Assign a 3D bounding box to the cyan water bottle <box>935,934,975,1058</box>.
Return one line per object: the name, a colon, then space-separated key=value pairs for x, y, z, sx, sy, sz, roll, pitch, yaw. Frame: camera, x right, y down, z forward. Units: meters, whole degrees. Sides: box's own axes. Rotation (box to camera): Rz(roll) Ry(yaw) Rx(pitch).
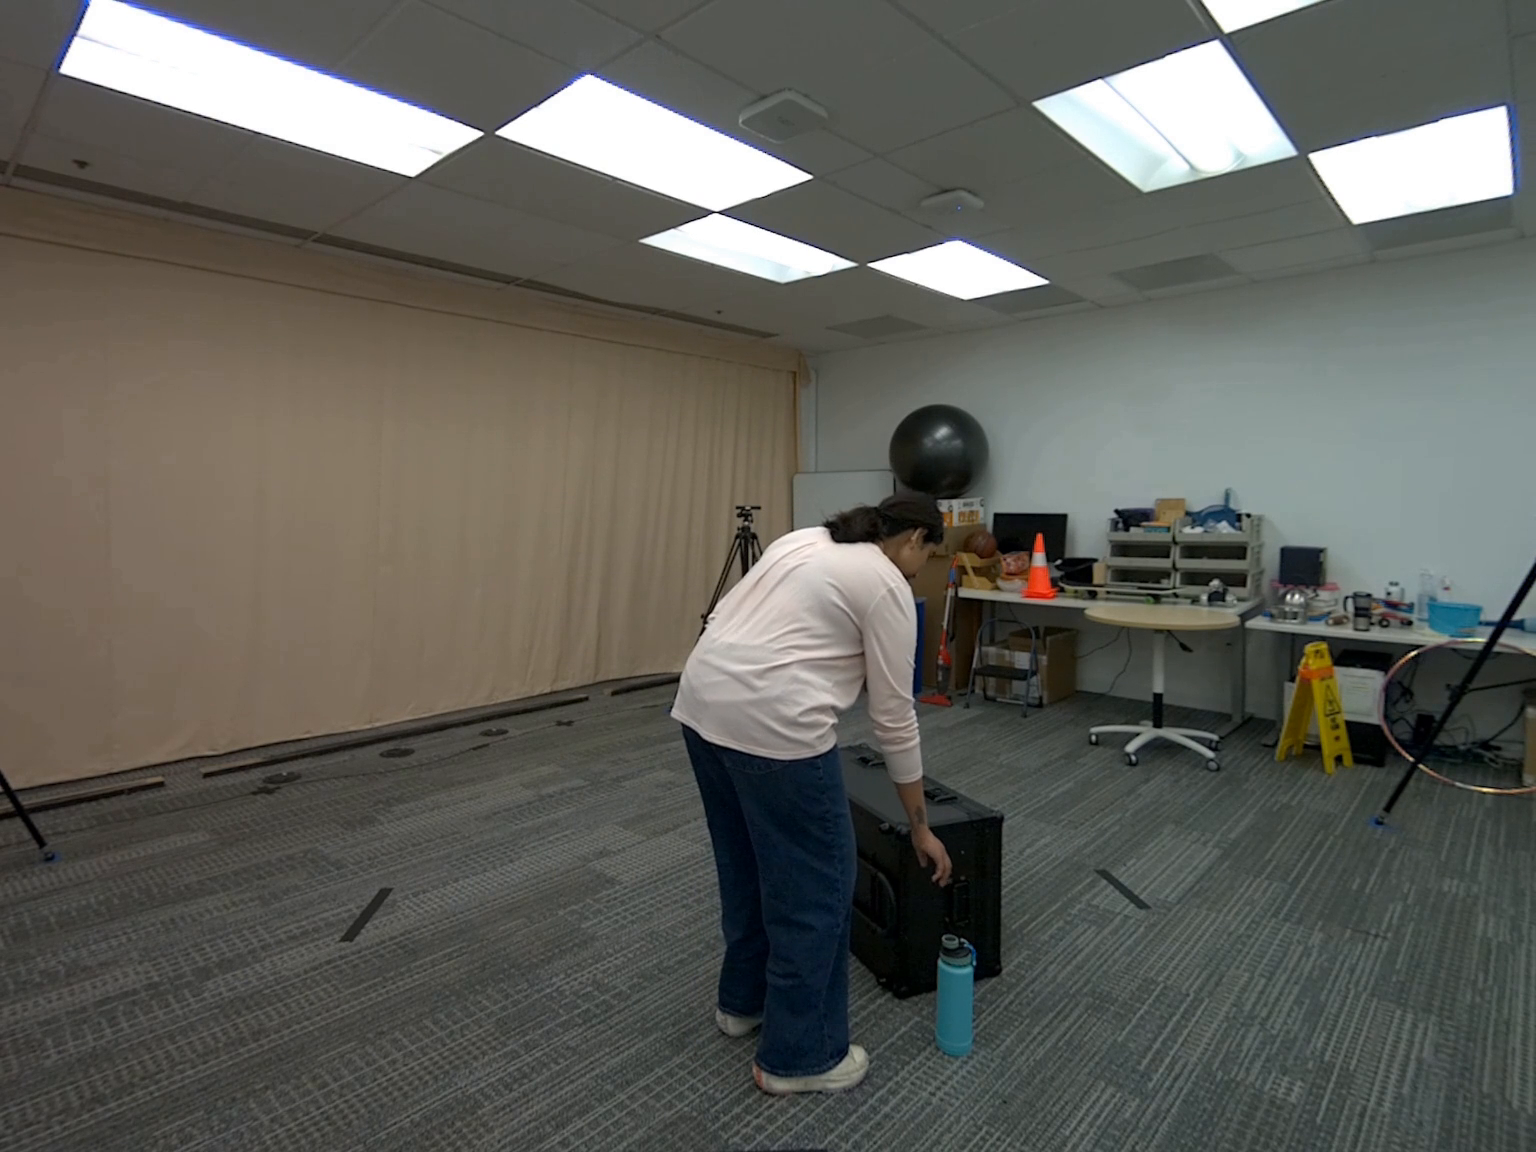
cyan water bottle: x=0.480 y=1.067 z=2.162 sx=0.092 sy=0.283 sz=0.092 roll=3 pitch=1 yaw=-2
